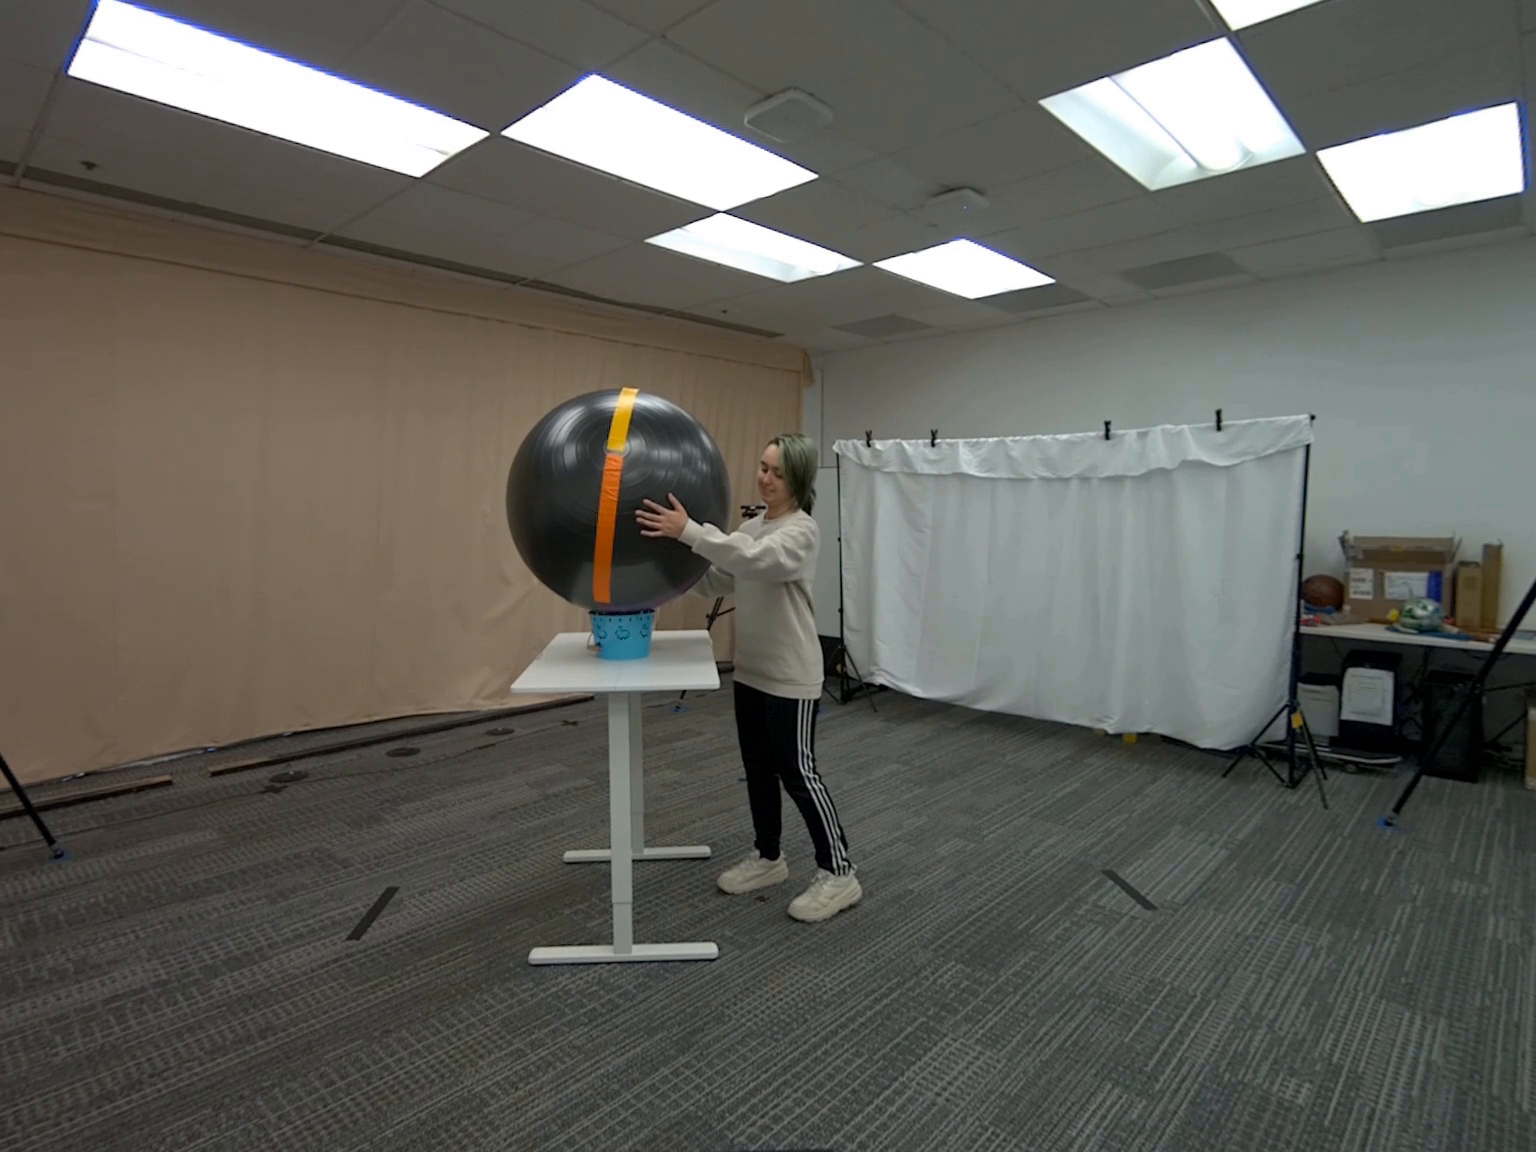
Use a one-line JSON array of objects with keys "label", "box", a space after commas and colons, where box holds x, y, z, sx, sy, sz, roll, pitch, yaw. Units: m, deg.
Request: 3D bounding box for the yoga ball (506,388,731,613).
[{"label": "yoga ball", "box": [-0.502, -0.250, 2.860, 0.757, 0.756, 0.760, 0, 4, -2]}]
